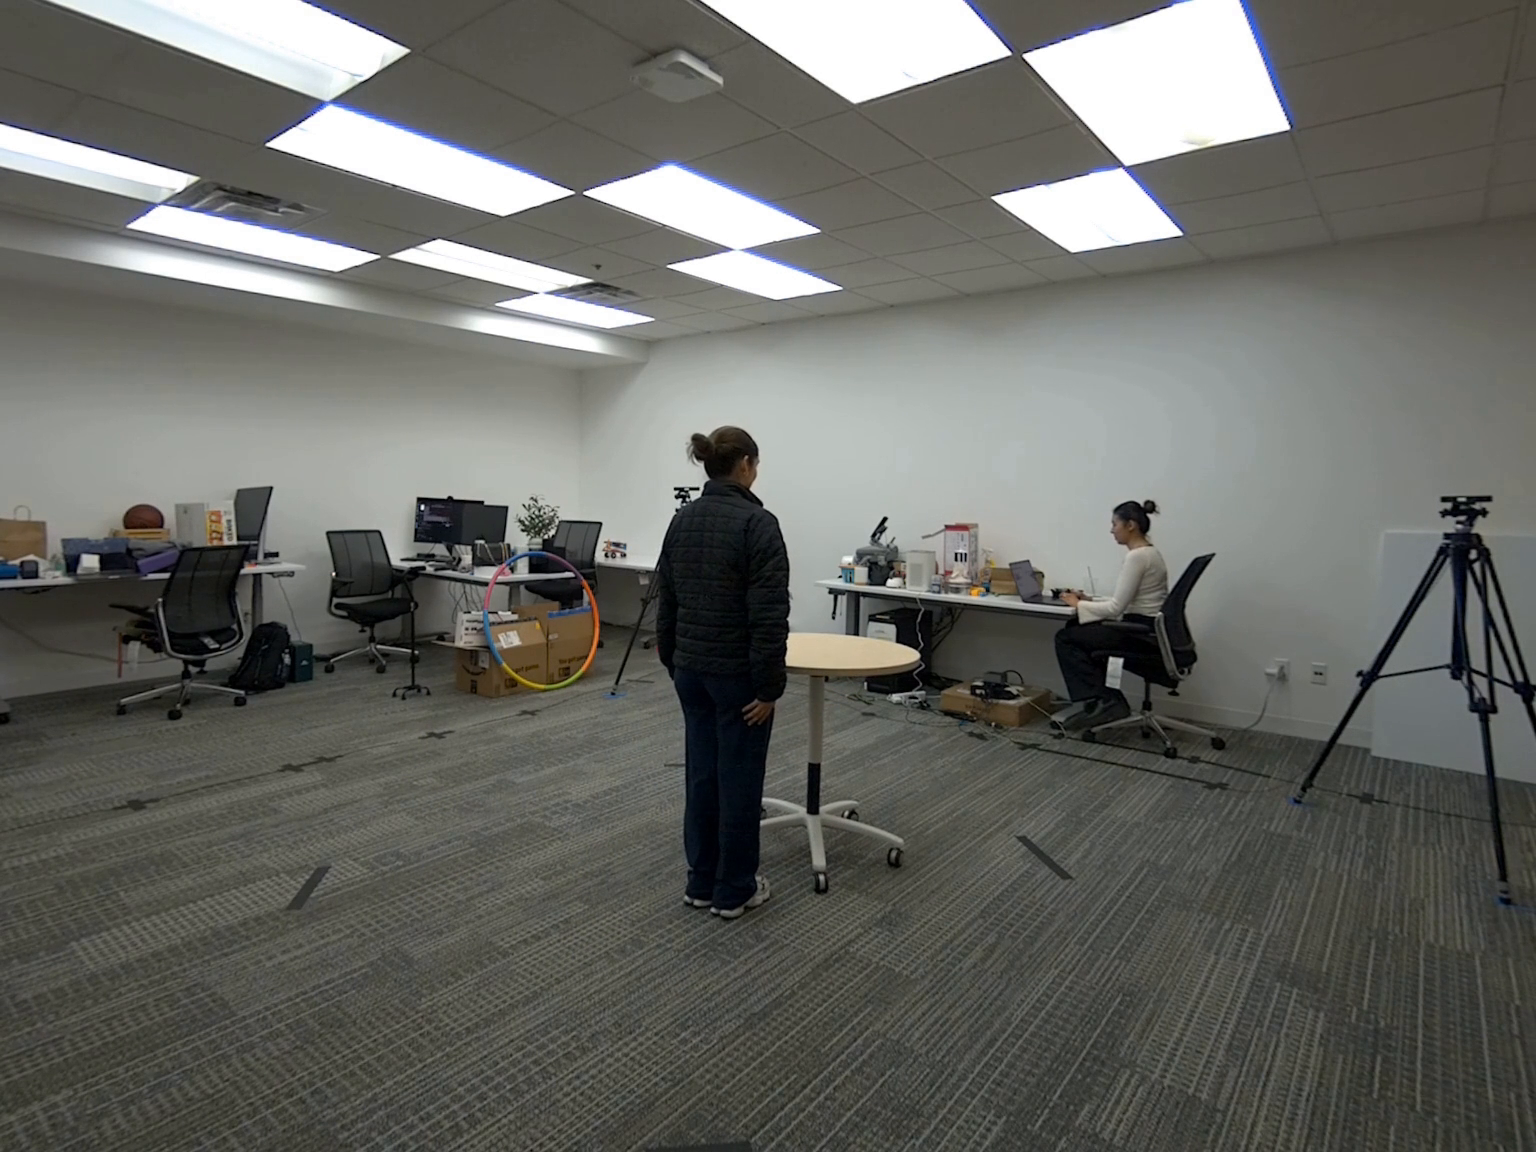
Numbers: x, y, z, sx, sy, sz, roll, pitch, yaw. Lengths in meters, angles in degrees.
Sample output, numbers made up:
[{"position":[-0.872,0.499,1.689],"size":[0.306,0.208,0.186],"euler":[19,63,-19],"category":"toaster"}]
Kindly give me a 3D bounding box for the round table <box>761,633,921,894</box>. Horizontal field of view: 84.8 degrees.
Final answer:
[{"position":[0.196,0.664,3.286],"size":[0.784,0.785,0.788],"euler":[2,3,-2],"category":"round table"}]
